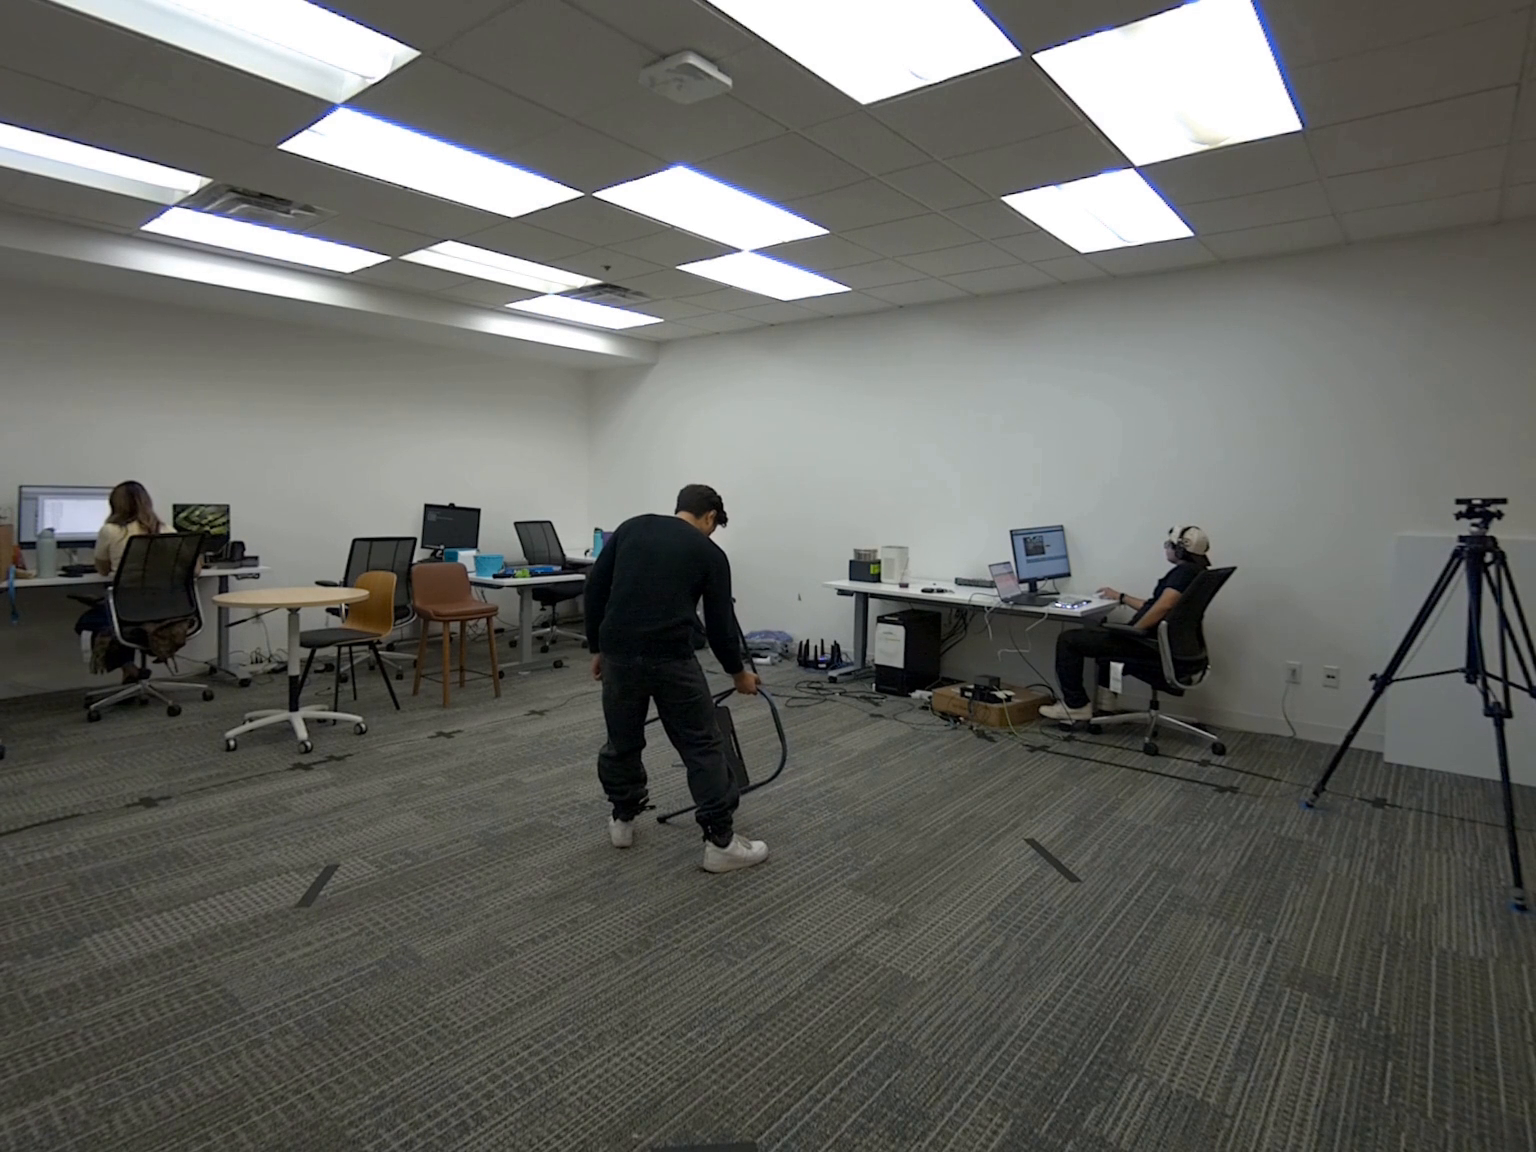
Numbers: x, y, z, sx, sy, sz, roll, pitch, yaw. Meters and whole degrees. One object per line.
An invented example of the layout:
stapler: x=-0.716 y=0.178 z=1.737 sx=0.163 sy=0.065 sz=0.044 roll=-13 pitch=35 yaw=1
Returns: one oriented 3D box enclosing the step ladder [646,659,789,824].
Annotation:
step ladder: x=-0.215 y=0.702 z=3.517 sx=0.338 sy=0.440 sz=0.612 roll=-1 pitch=-24 yaw=-43
